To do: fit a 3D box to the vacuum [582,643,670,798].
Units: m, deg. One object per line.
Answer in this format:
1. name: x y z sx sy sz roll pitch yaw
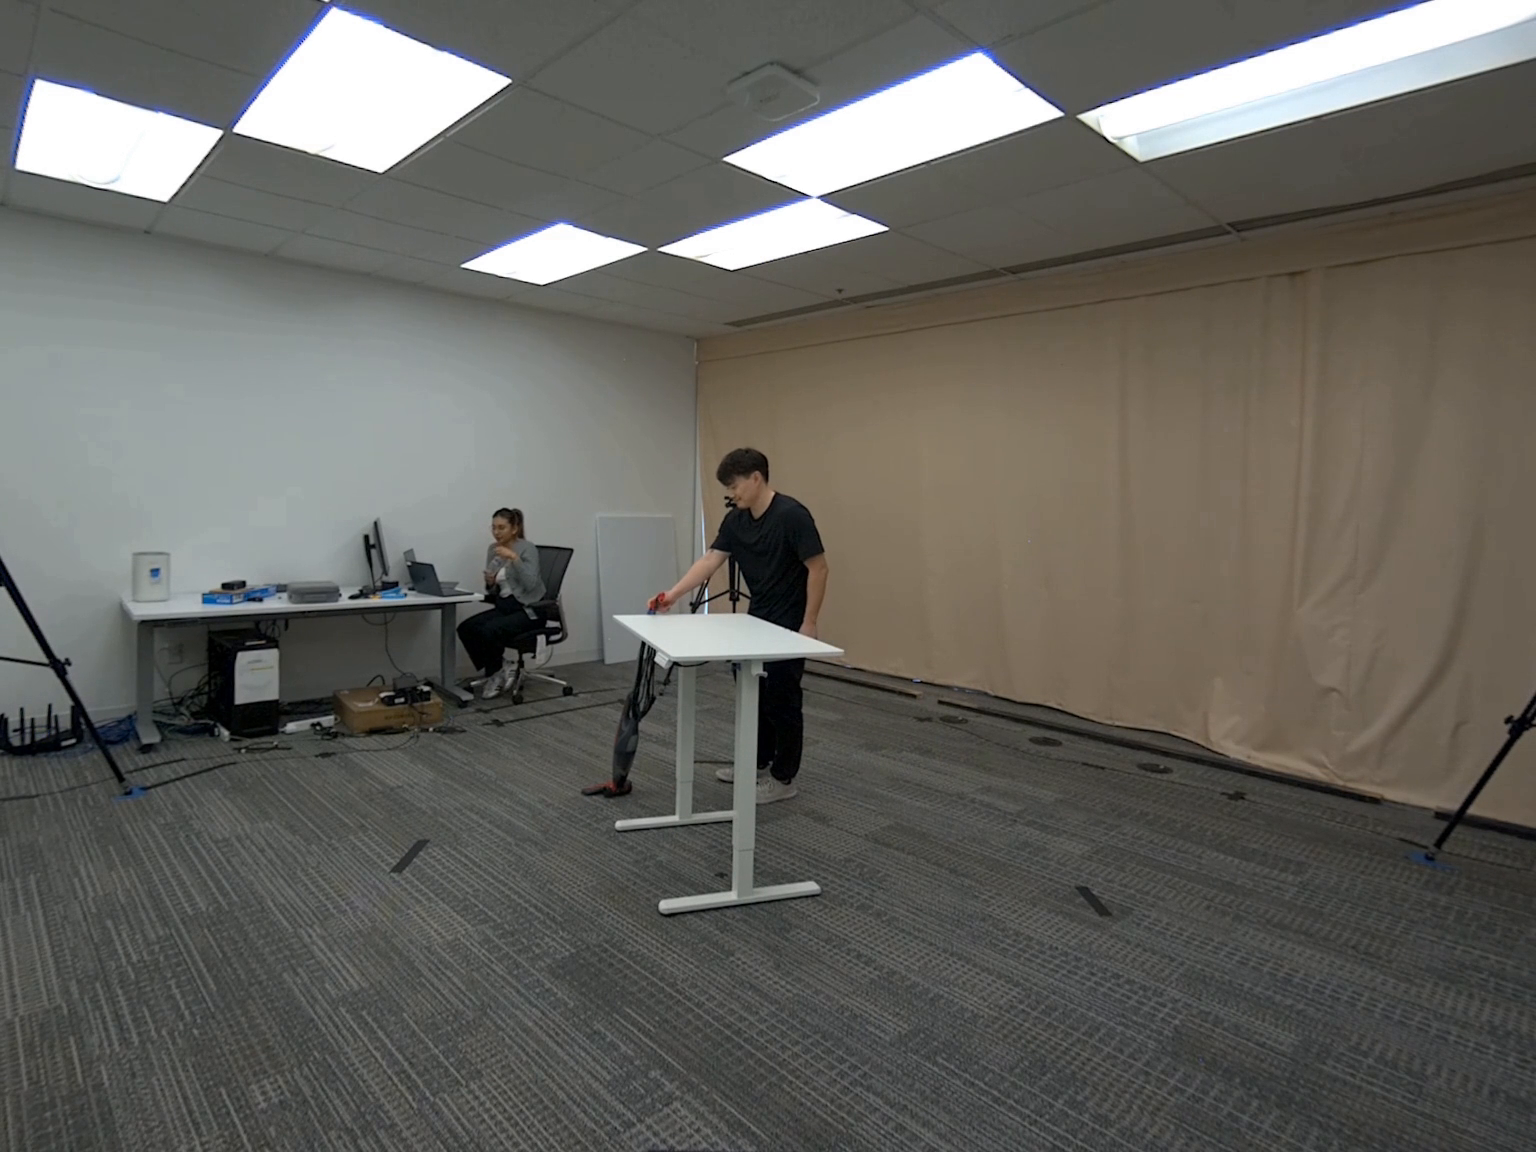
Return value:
1. vacuum: -0.602 0.553 3.780 0.247 1.039 0.148 -6 30 -46
